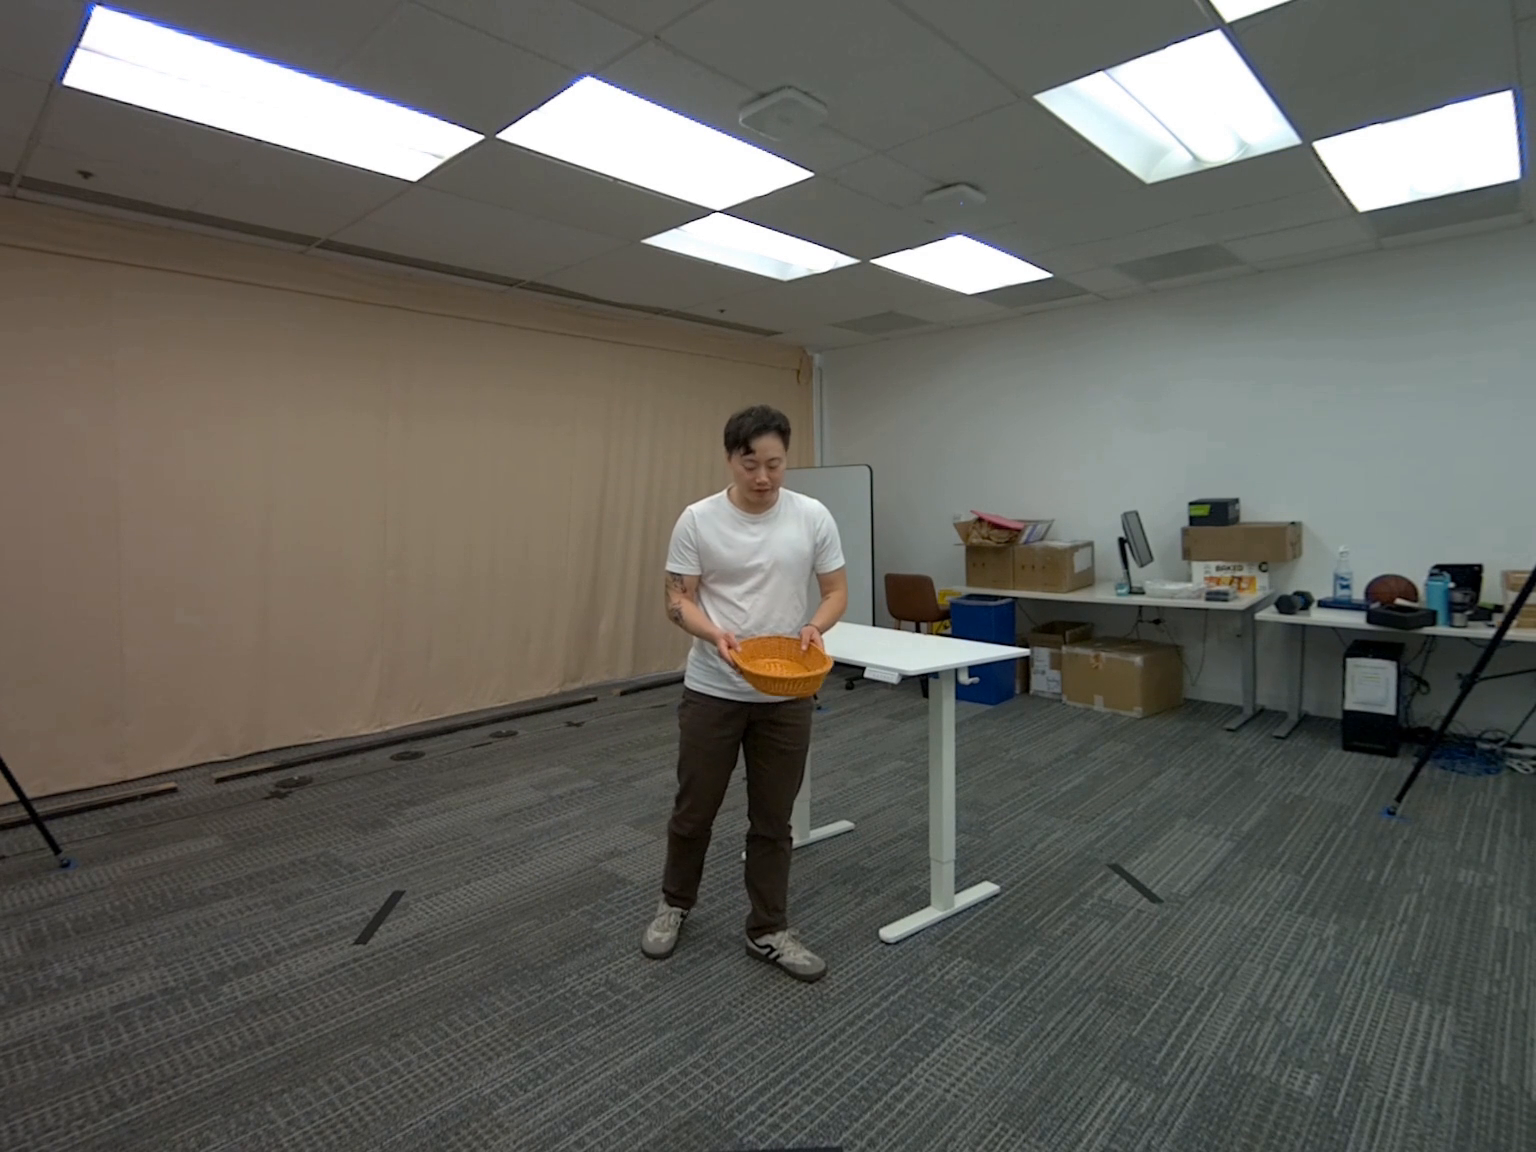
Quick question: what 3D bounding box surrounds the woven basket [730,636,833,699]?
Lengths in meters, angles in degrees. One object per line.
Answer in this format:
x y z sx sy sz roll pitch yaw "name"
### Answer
0.021 0.246 2.219 0.251 0.073 0.355 -2 12 -8 "woven basket"
